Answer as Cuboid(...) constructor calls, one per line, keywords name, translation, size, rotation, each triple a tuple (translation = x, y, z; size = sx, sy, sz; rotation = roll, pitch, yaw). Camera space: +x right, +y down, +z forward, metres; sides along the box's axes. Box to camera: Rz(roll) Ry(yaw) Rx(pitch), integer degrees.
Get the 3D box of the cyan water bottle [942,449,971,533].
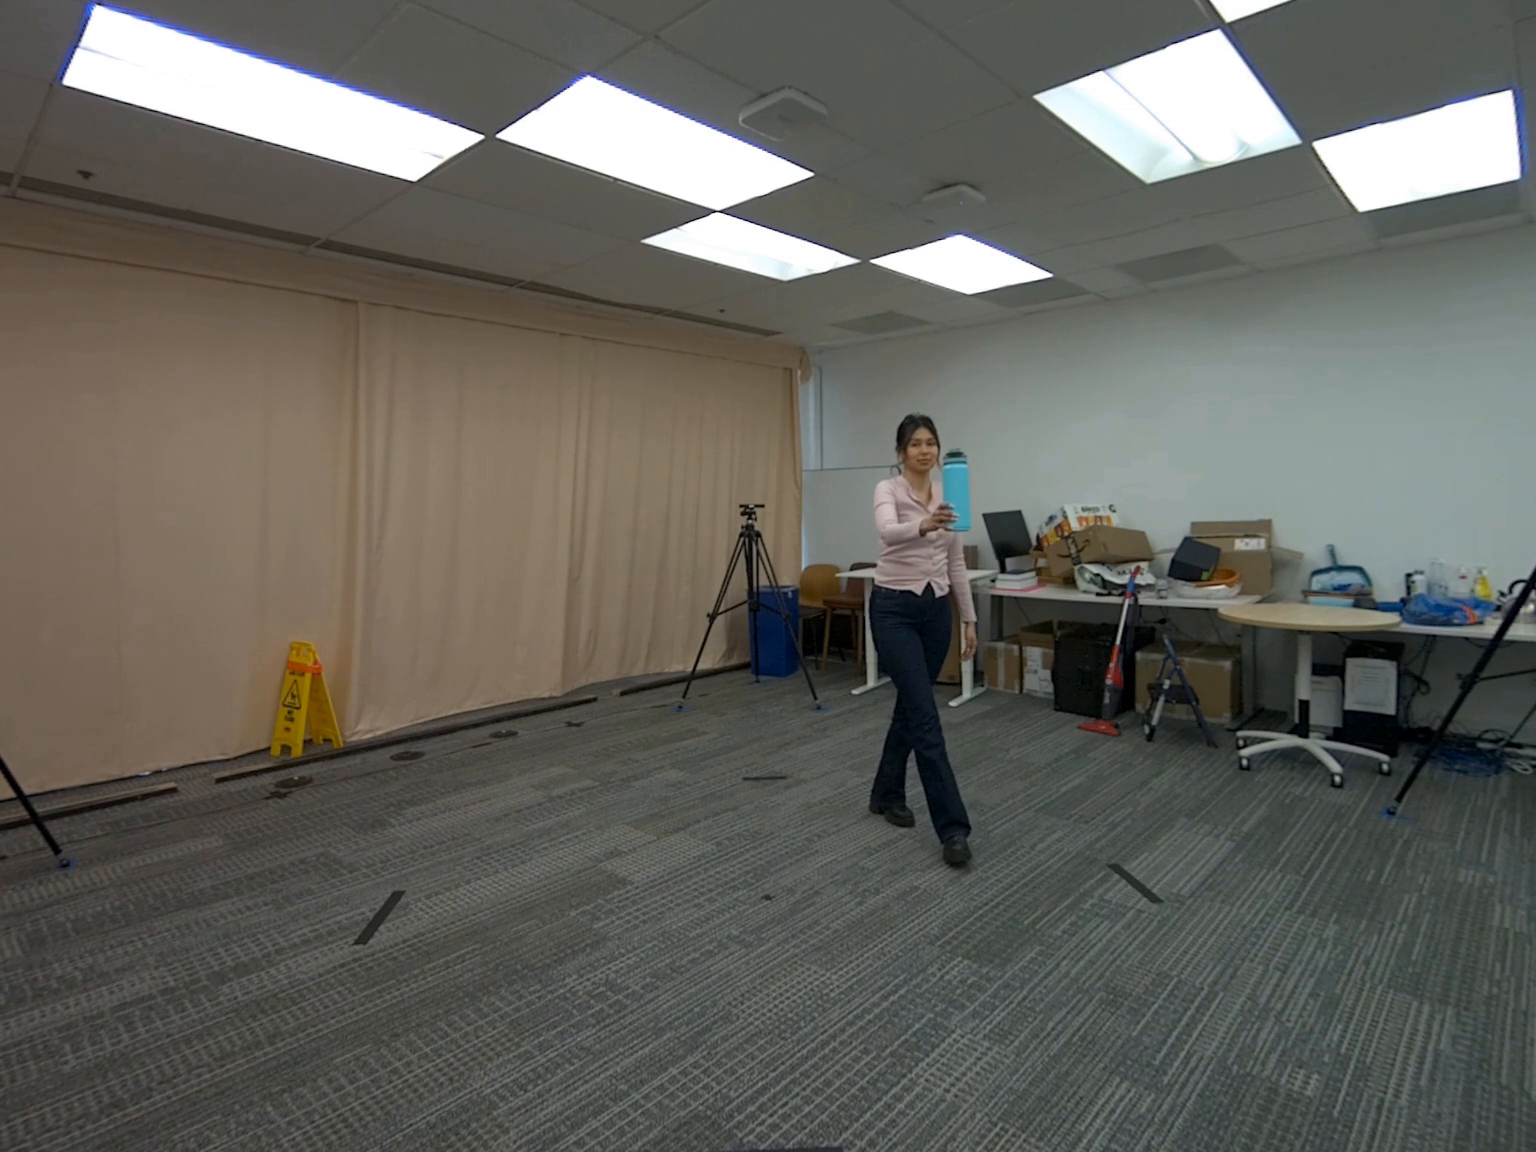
Cuboid(name="cyan water bottle", translation=(0.654, -0.301, 2.907), size=(0.092, 0.284, 0.092), rotation=(-1, -4, -2))
